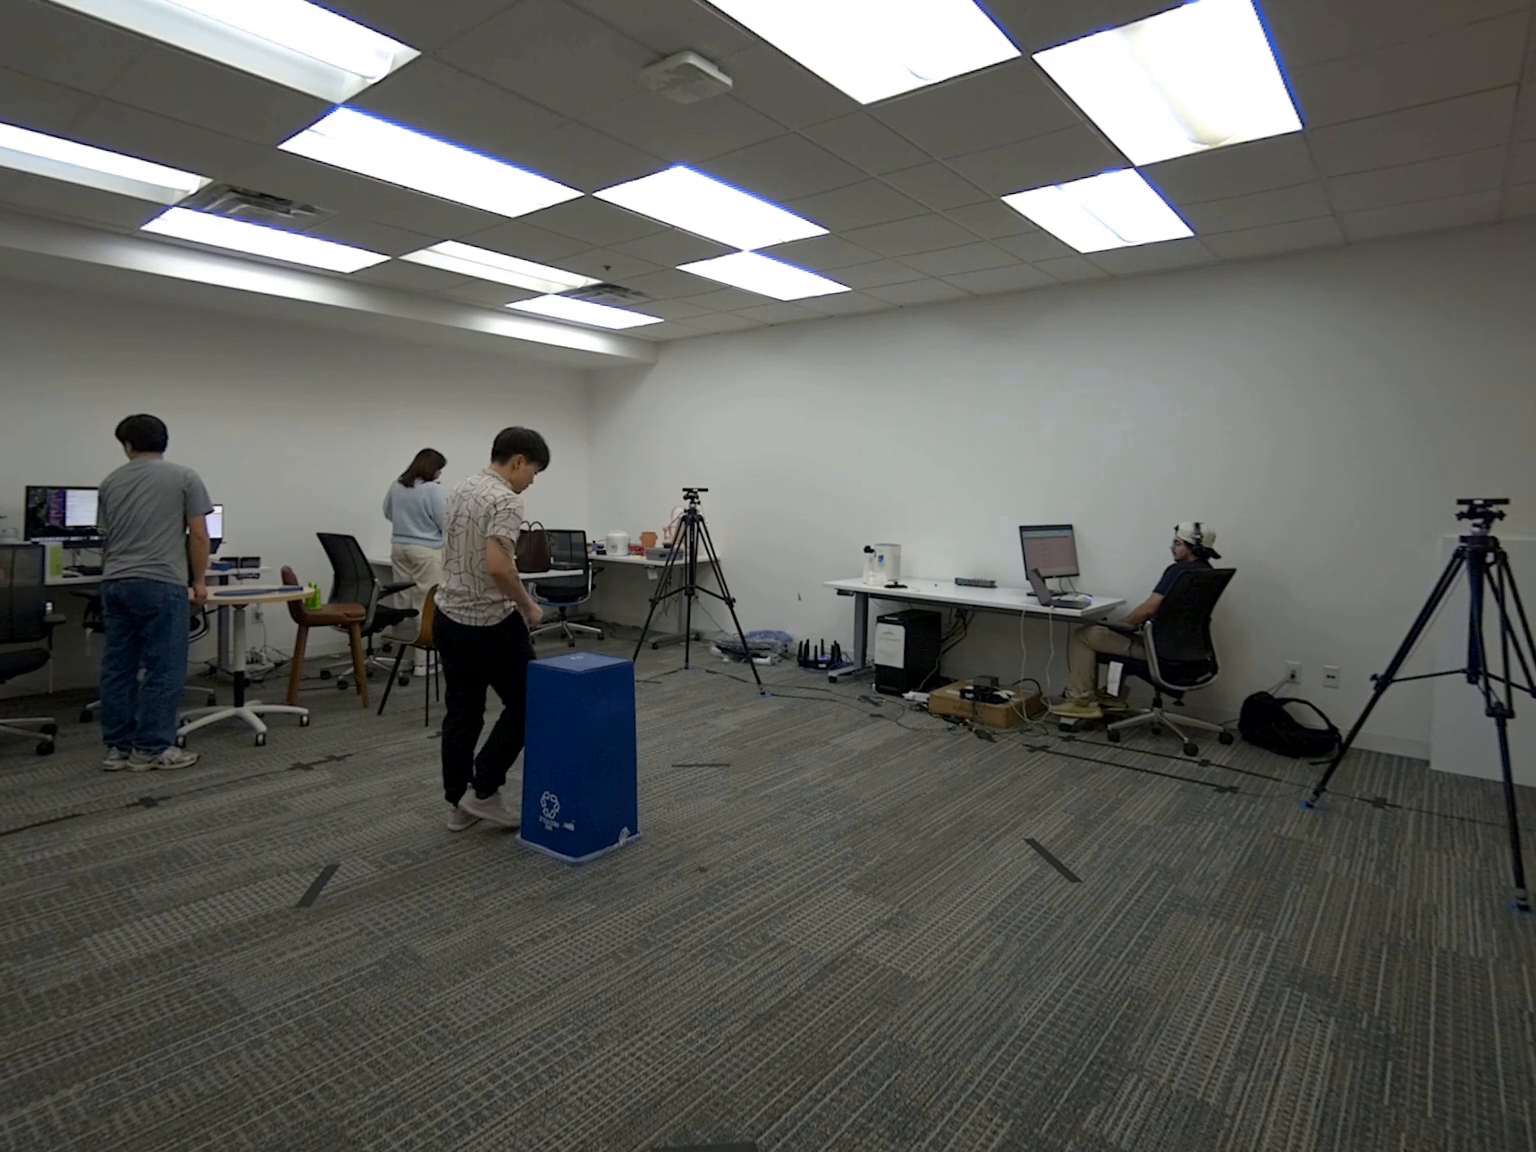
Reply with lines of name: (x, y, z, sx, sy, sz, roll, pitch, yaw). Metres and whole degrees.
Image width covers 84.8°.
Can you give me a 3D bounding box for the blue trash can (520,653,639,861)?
blue trash can: (-0.751, 0.684, 3.348, 0.386, 0.712, 0.367, 3, 2, 37)
